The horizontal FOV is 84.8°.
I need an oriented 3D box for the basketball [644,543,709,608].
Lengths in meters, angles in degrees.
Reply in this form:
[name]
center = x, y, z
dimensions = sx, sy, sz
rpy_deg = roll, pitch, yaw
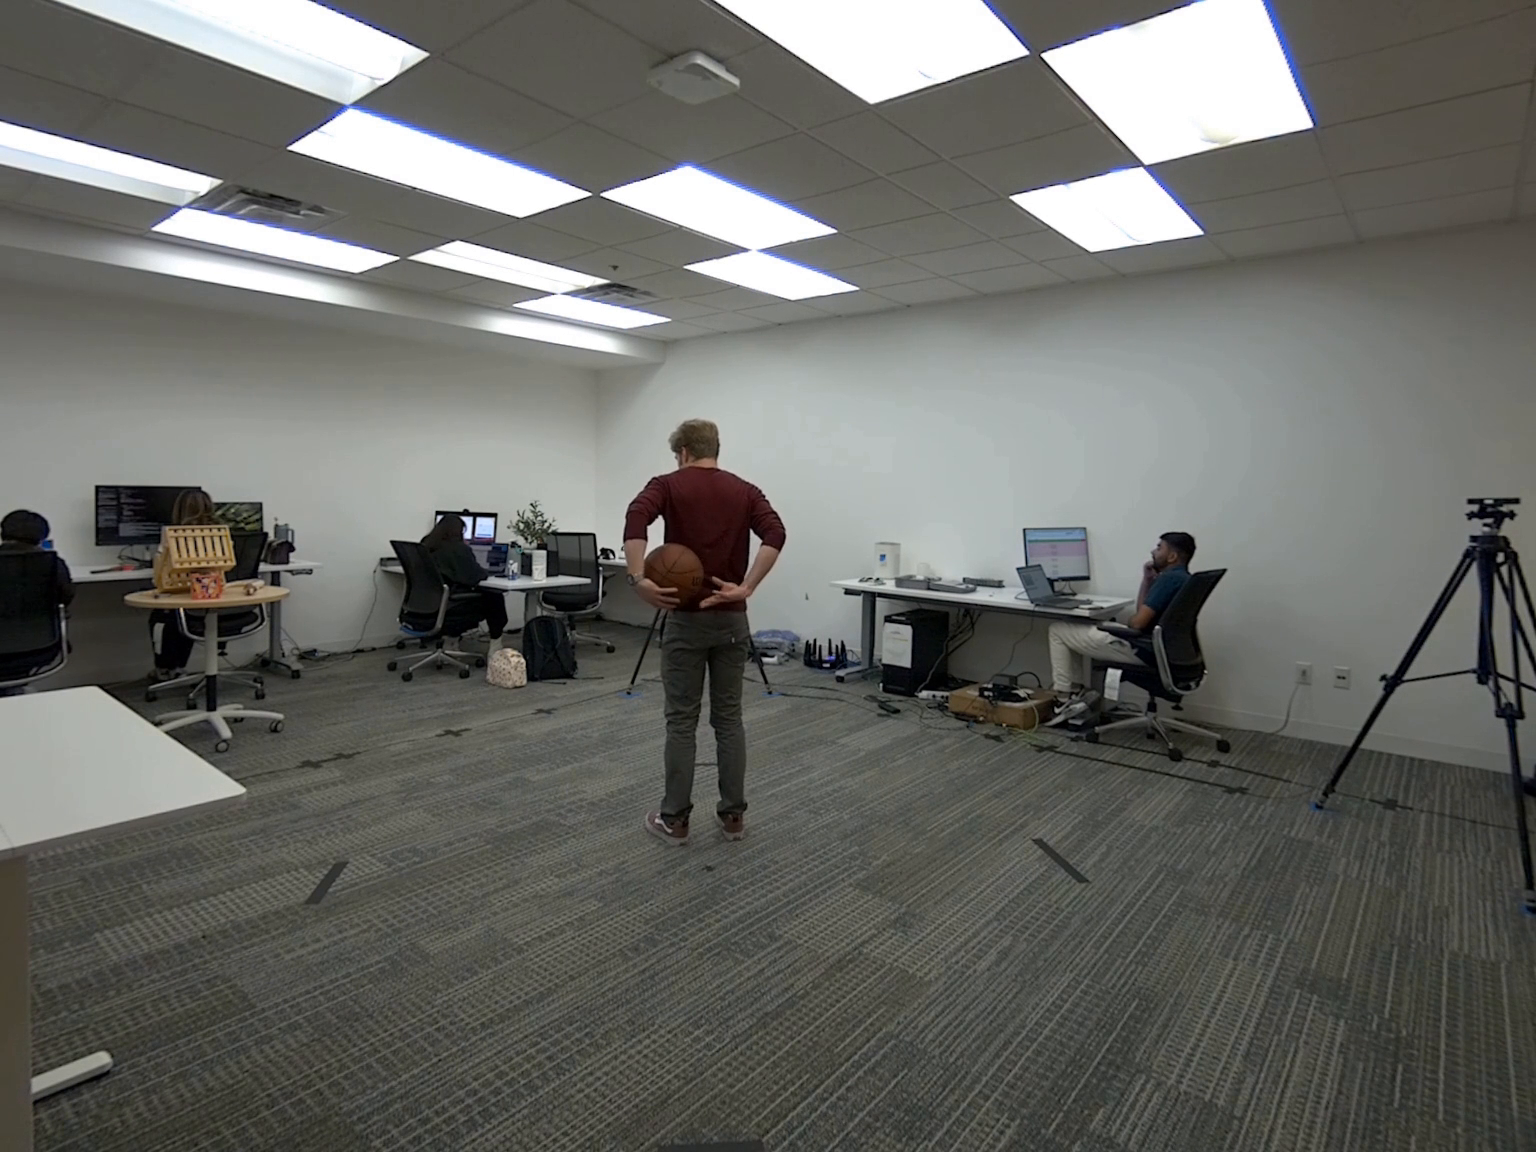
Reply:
[basketball]
center = -0.379, -0.003, 3.196
dimensions = 0.235, 0.235, 0.237
rpy_deg = 1, 4, -2
